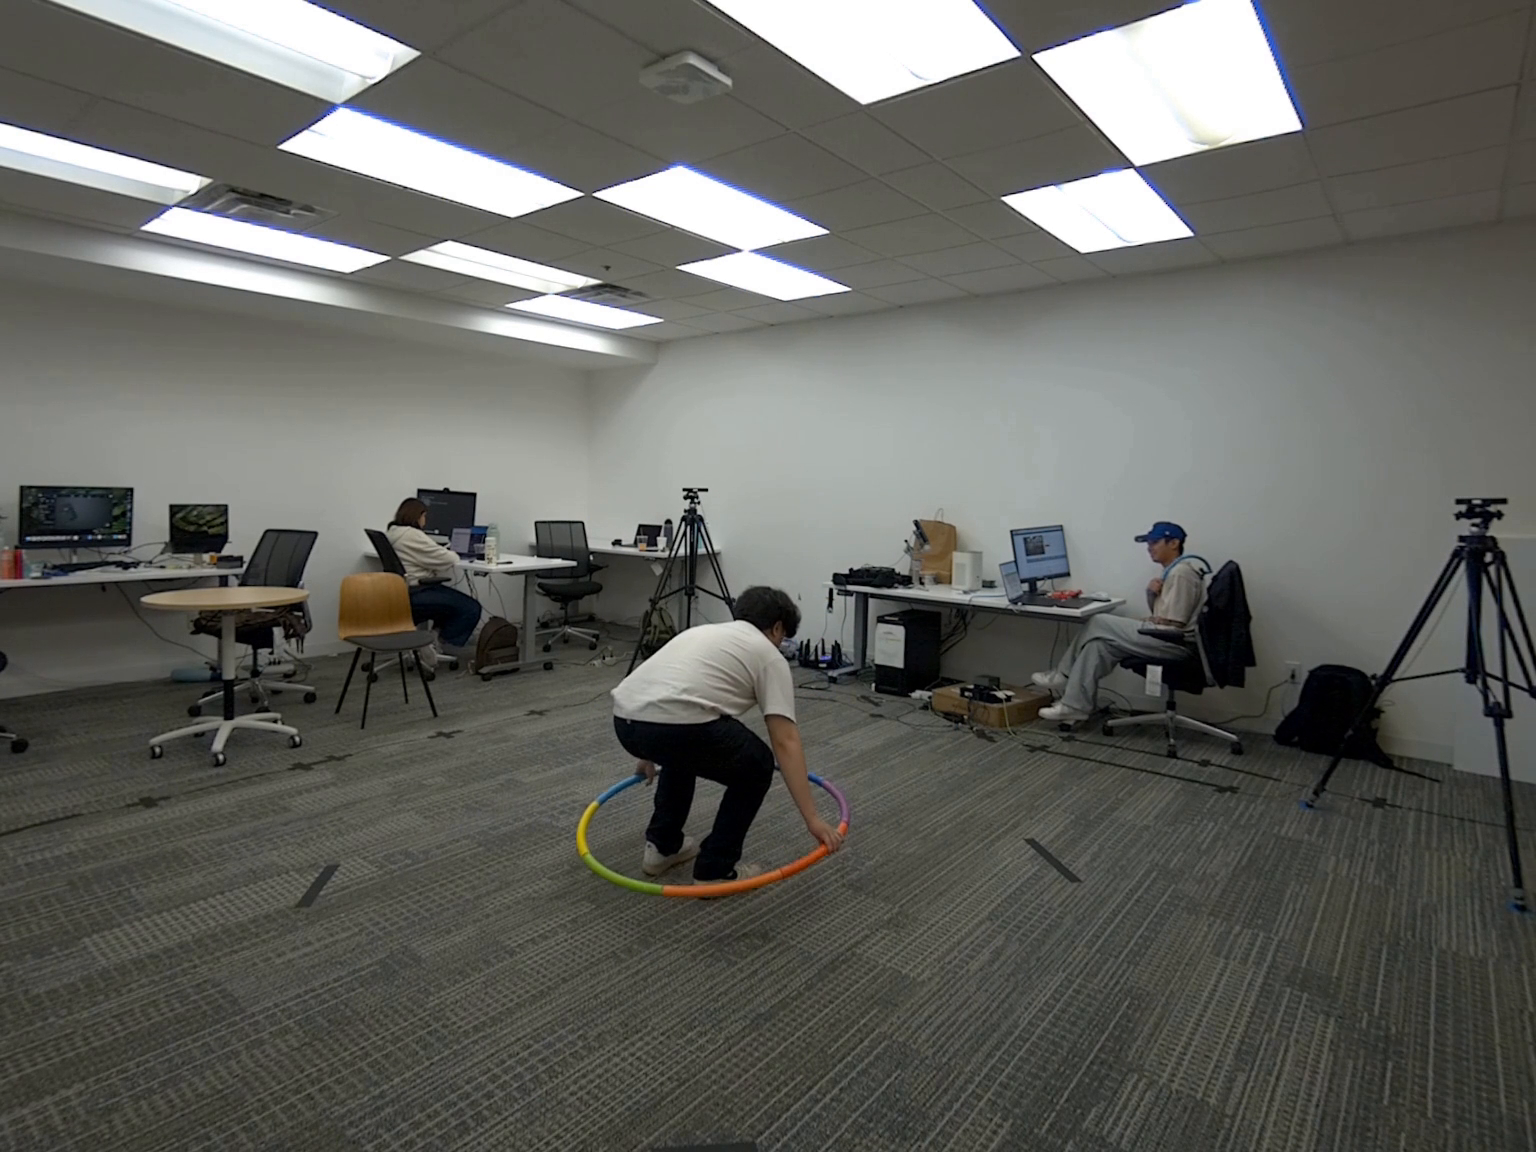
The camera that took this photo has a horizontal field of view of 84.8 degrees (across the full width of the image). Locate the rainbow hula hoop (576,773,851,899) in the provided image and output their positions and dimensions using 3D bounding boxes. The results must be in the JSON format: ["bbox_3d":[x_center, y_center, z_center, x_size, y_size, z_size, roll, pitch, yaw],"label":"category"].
[{"bbox_3d":[-0.204,0.864,3.082,0.985,0.051,0.996,-5,12,-1],"label":"rainbow hula hoop"}]
